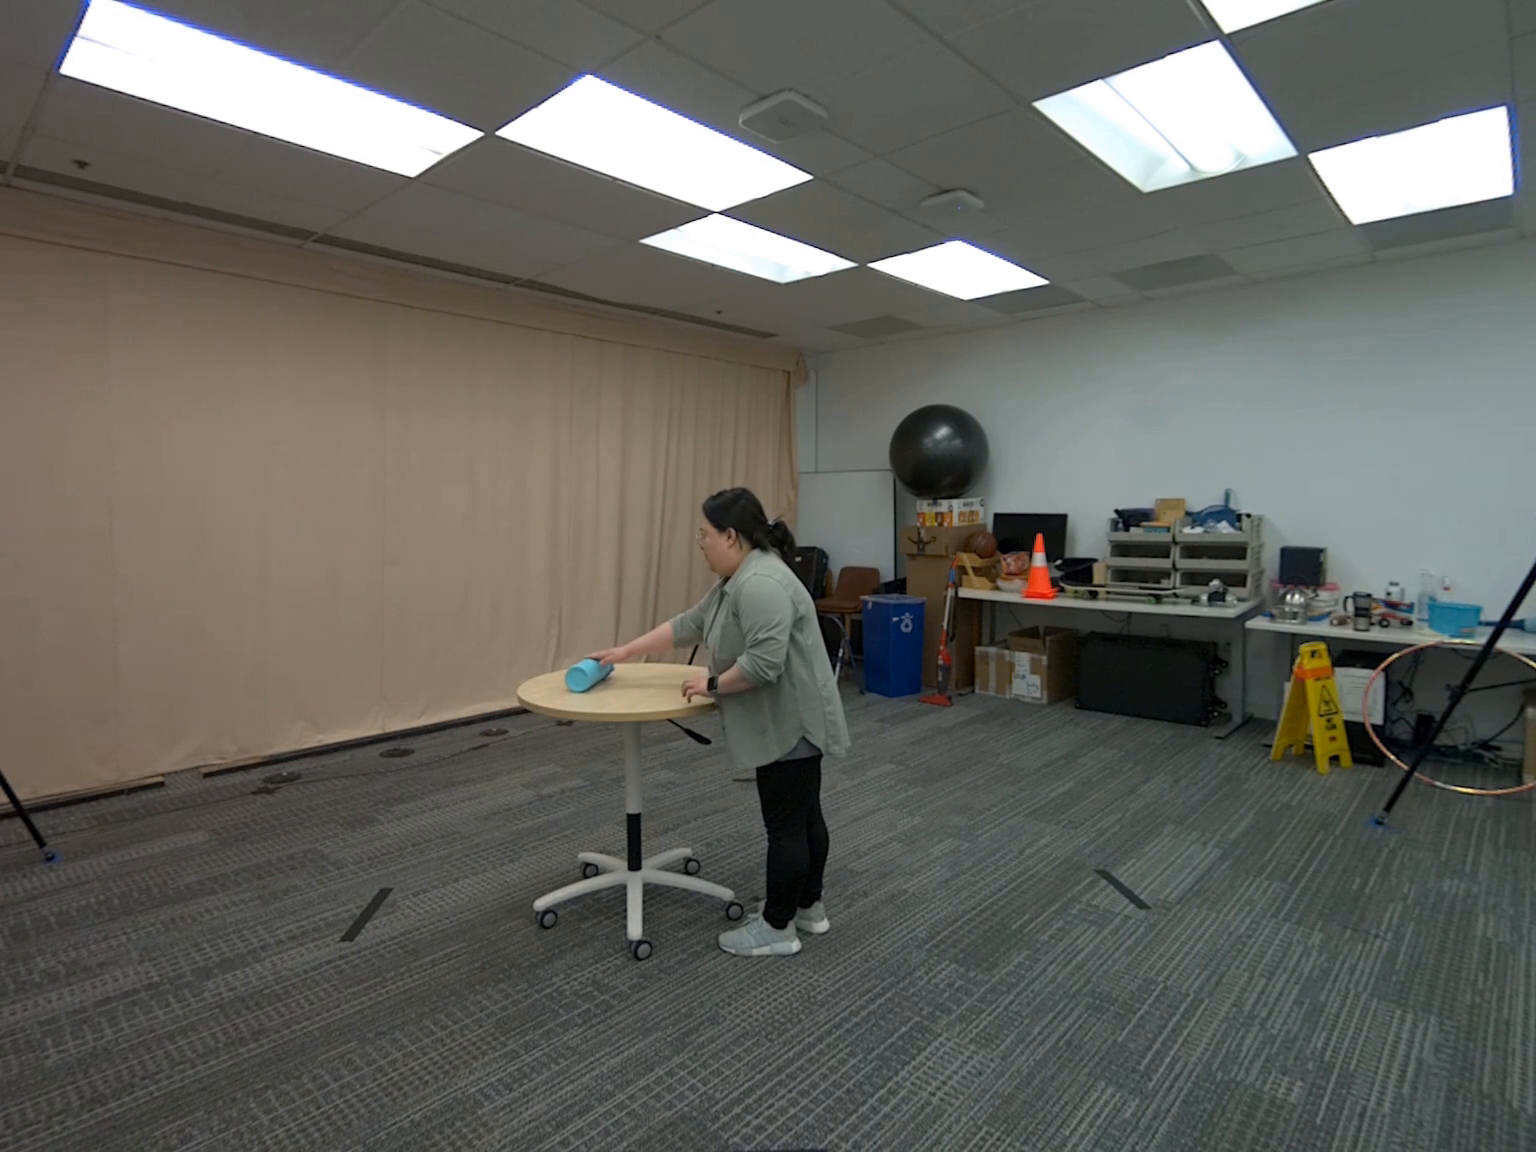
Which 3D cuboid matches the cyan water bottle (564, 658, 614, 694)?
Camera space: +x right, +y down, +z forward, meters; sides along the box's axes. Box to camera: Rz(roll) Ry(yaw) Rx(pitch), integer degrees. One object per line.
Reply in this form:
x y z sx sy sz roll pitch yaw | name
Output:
-0.595 0.327 2.896 0.093 0.092 0.282 0 6 7 | cyan water bottle
